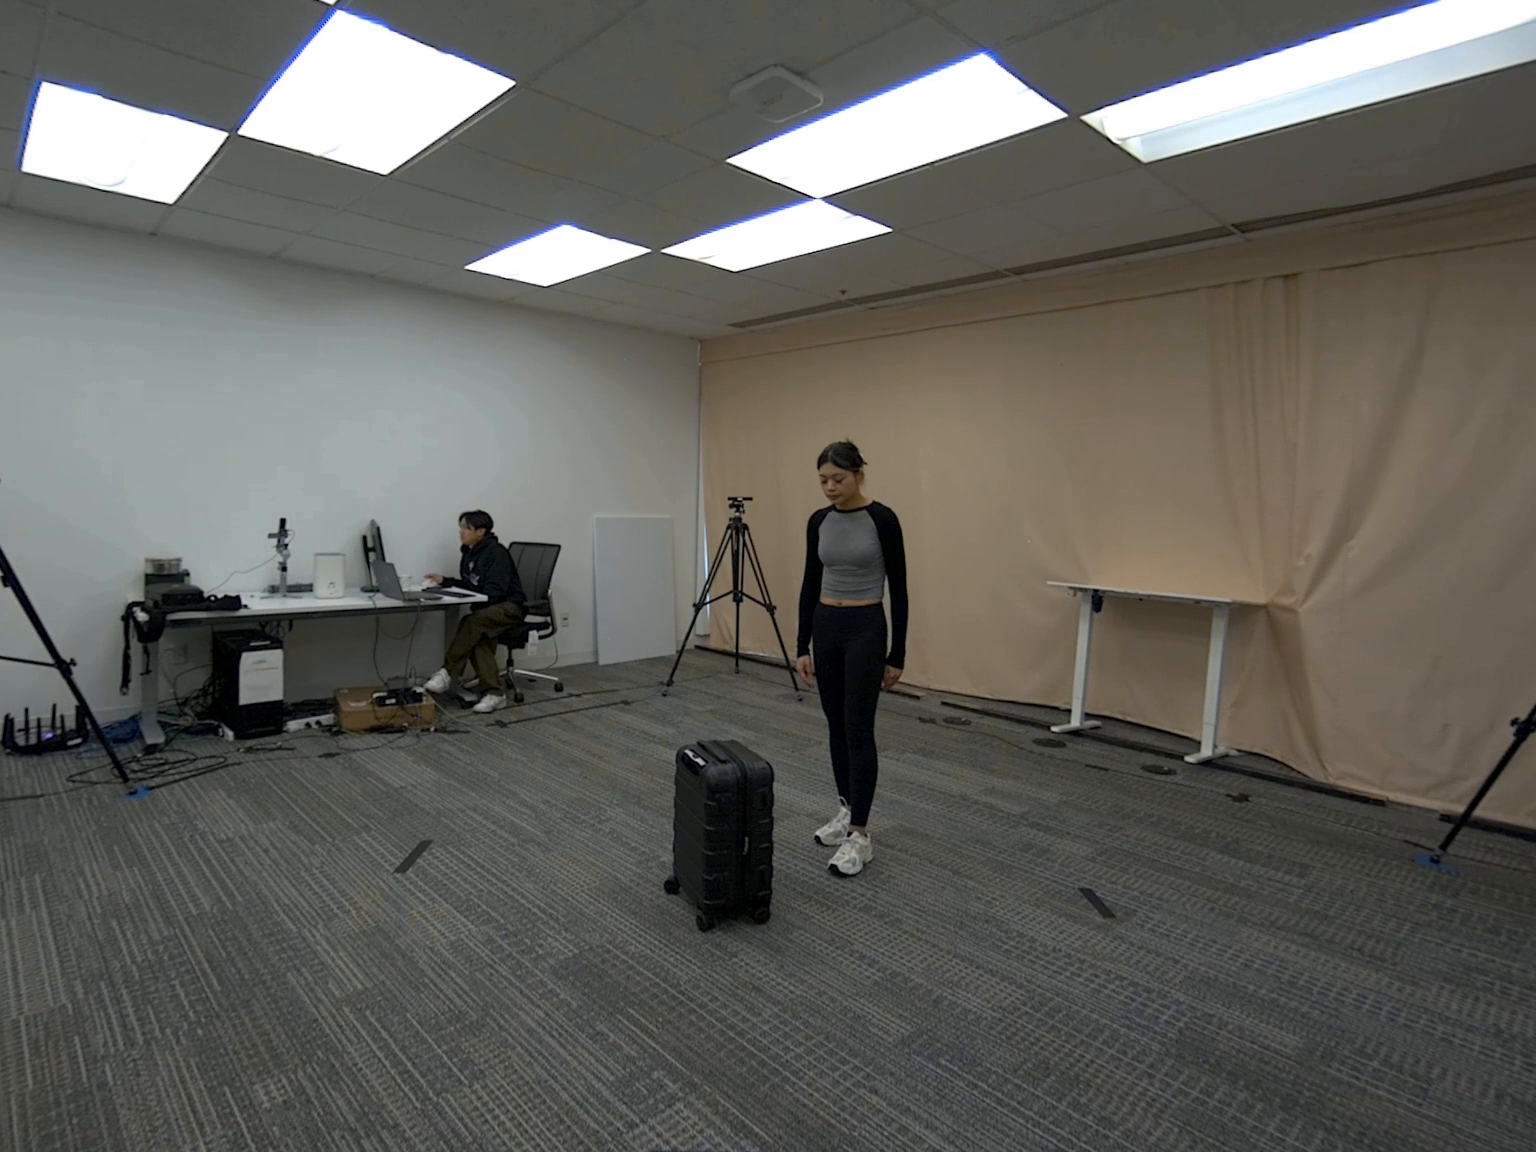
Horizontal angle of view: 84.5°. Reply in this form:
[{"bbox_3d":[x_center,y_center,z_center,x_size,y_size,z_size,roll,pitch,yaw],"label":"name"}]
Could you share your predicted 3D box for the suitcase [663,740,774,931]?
[{"bbox_3d":[-0.163,0.851,2.863,0.244,0.548,0.383,1,3,-25],"label":"suitcase"}]
